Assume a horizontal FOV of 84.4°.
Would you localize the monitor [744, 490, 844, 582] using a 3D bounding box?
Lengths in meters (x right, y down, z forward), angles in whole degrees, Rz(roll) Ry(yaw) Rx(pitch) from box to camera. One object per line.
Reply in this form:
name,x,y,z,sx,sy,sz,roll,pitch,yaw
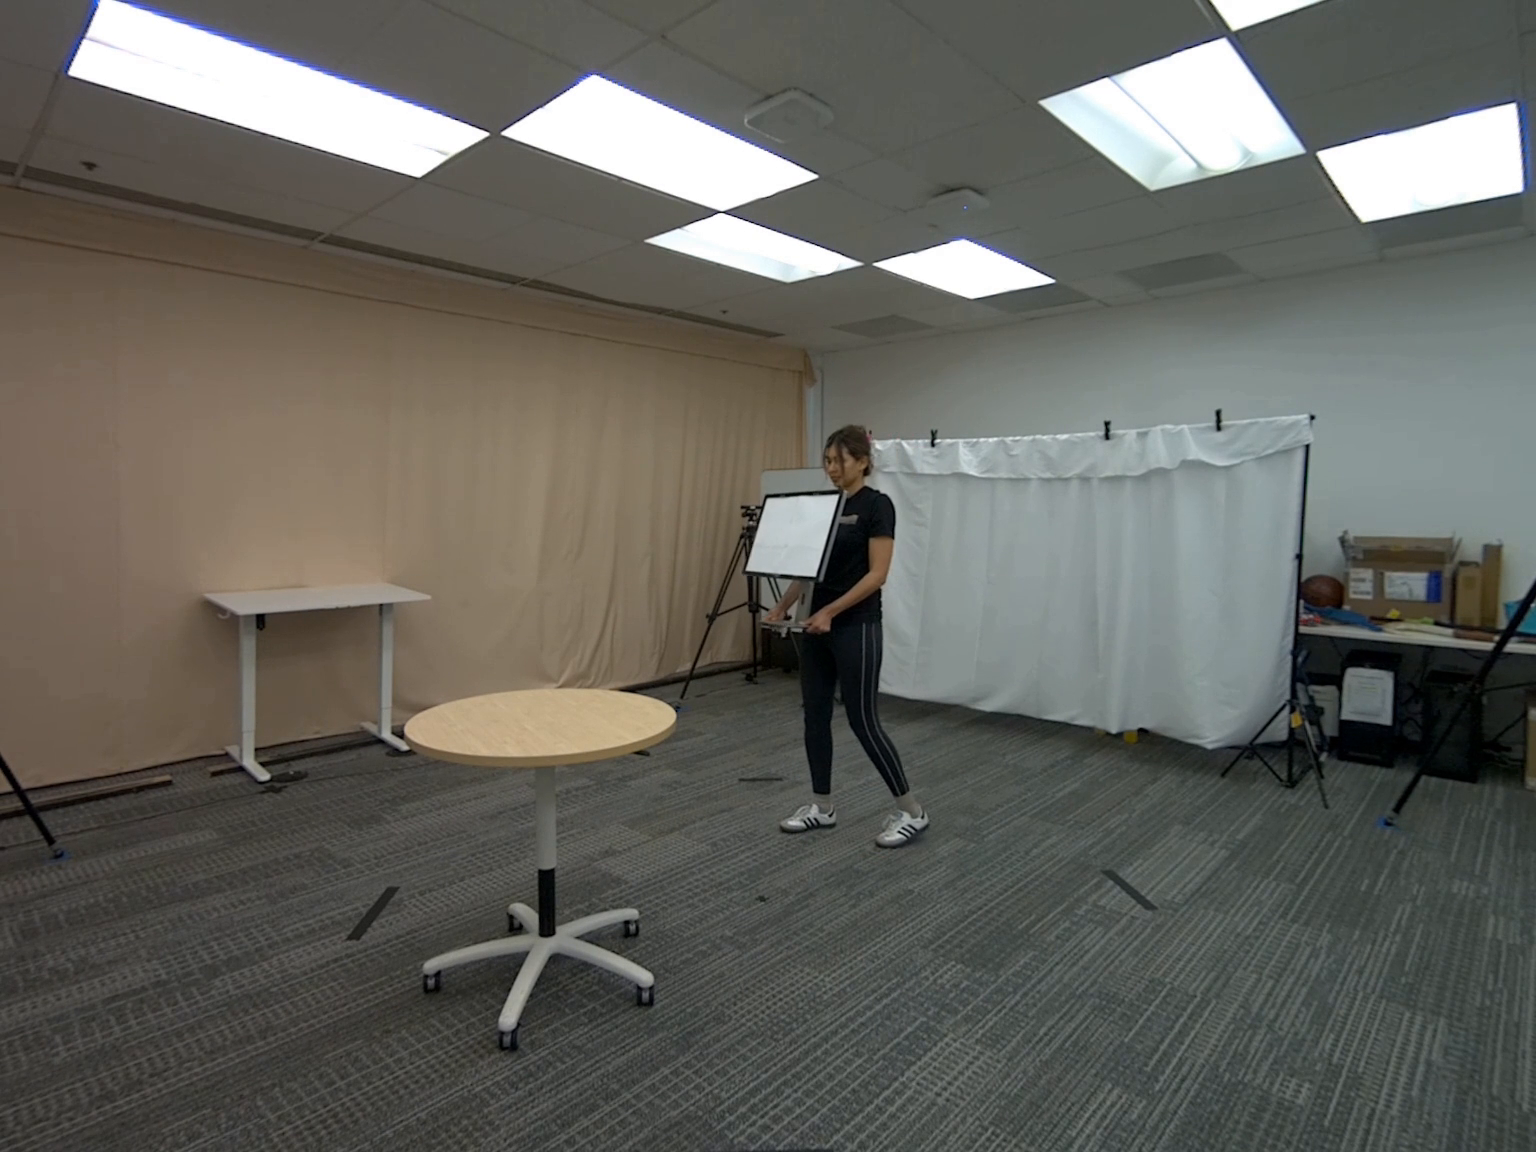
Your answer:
monitor,0.121,-0.070,3.400,0.181,0.523,0.555,6,-1,-33
